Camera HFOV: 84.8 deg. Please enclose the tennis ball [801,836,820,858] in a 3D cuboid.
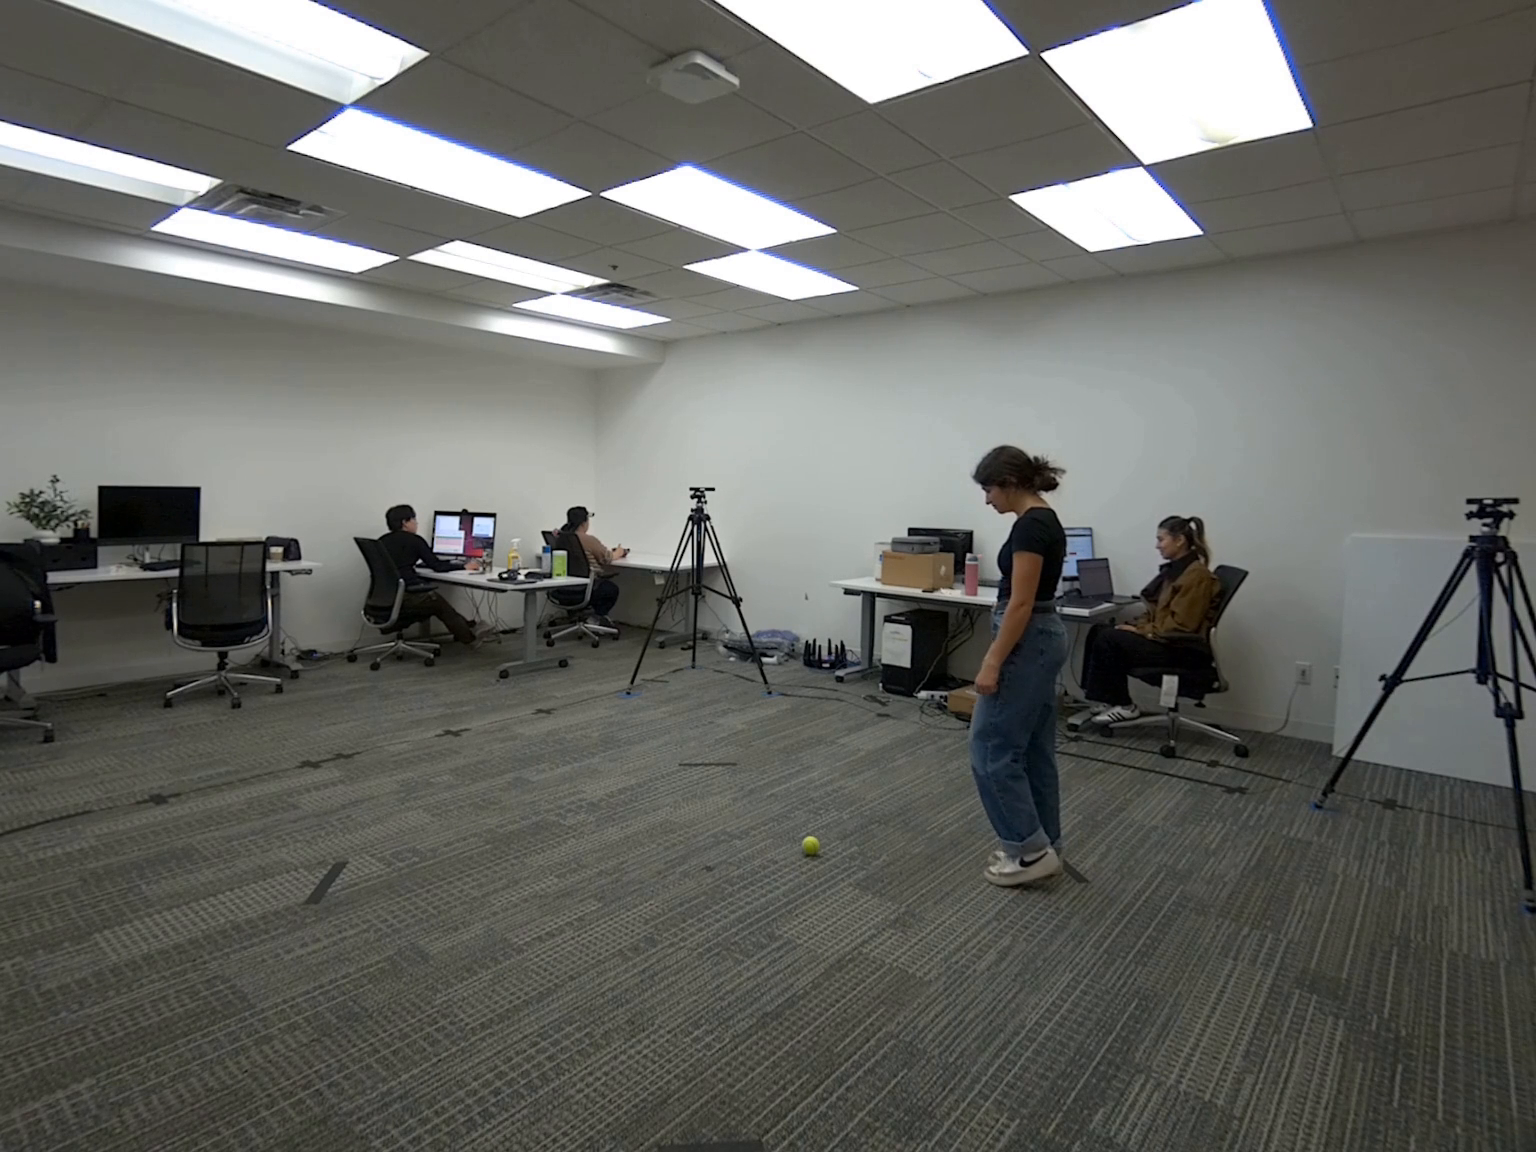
[{"bbox_3d":[0.161,1.013,3.260,0.066,0.066,0.067,1,4,-2],"label":"tennis ball"}]
